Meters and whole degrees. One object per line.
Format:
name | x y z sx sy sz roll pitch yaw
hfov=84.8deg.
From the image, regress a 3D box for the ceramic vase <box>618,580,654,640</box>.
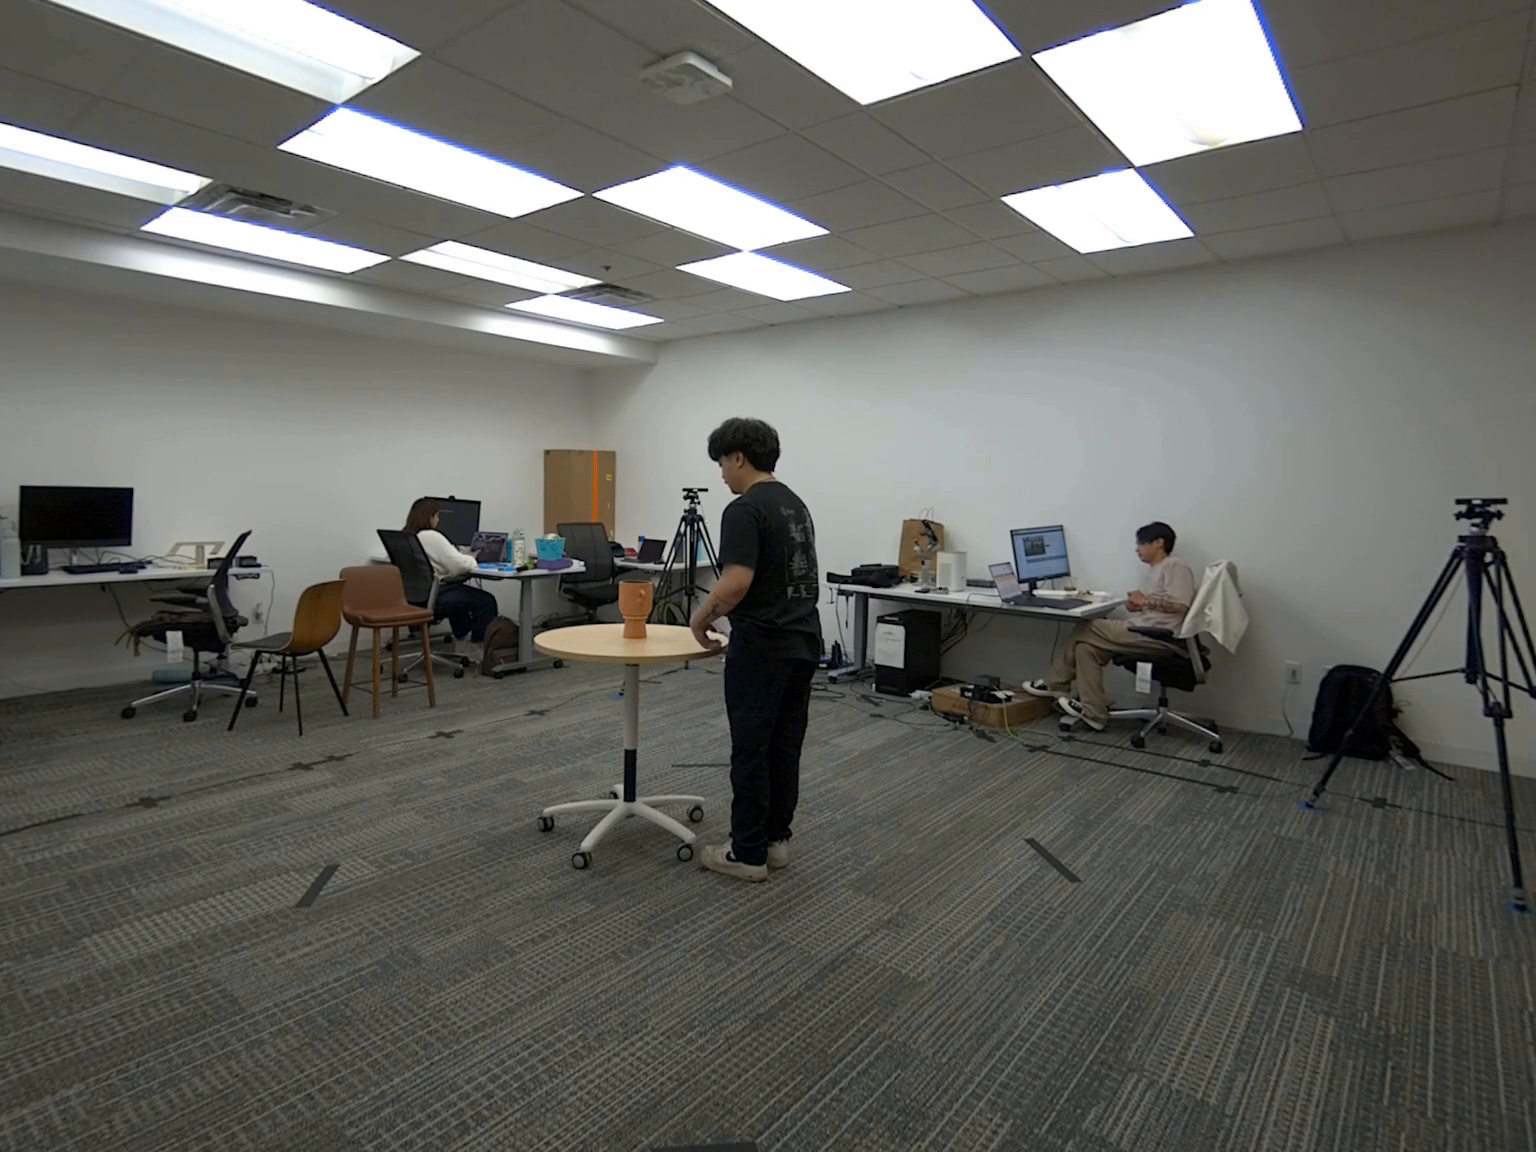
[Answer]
ceramic vase | -0.554 0.133 3.419 0.136 0.219 0.157 2 3 12
